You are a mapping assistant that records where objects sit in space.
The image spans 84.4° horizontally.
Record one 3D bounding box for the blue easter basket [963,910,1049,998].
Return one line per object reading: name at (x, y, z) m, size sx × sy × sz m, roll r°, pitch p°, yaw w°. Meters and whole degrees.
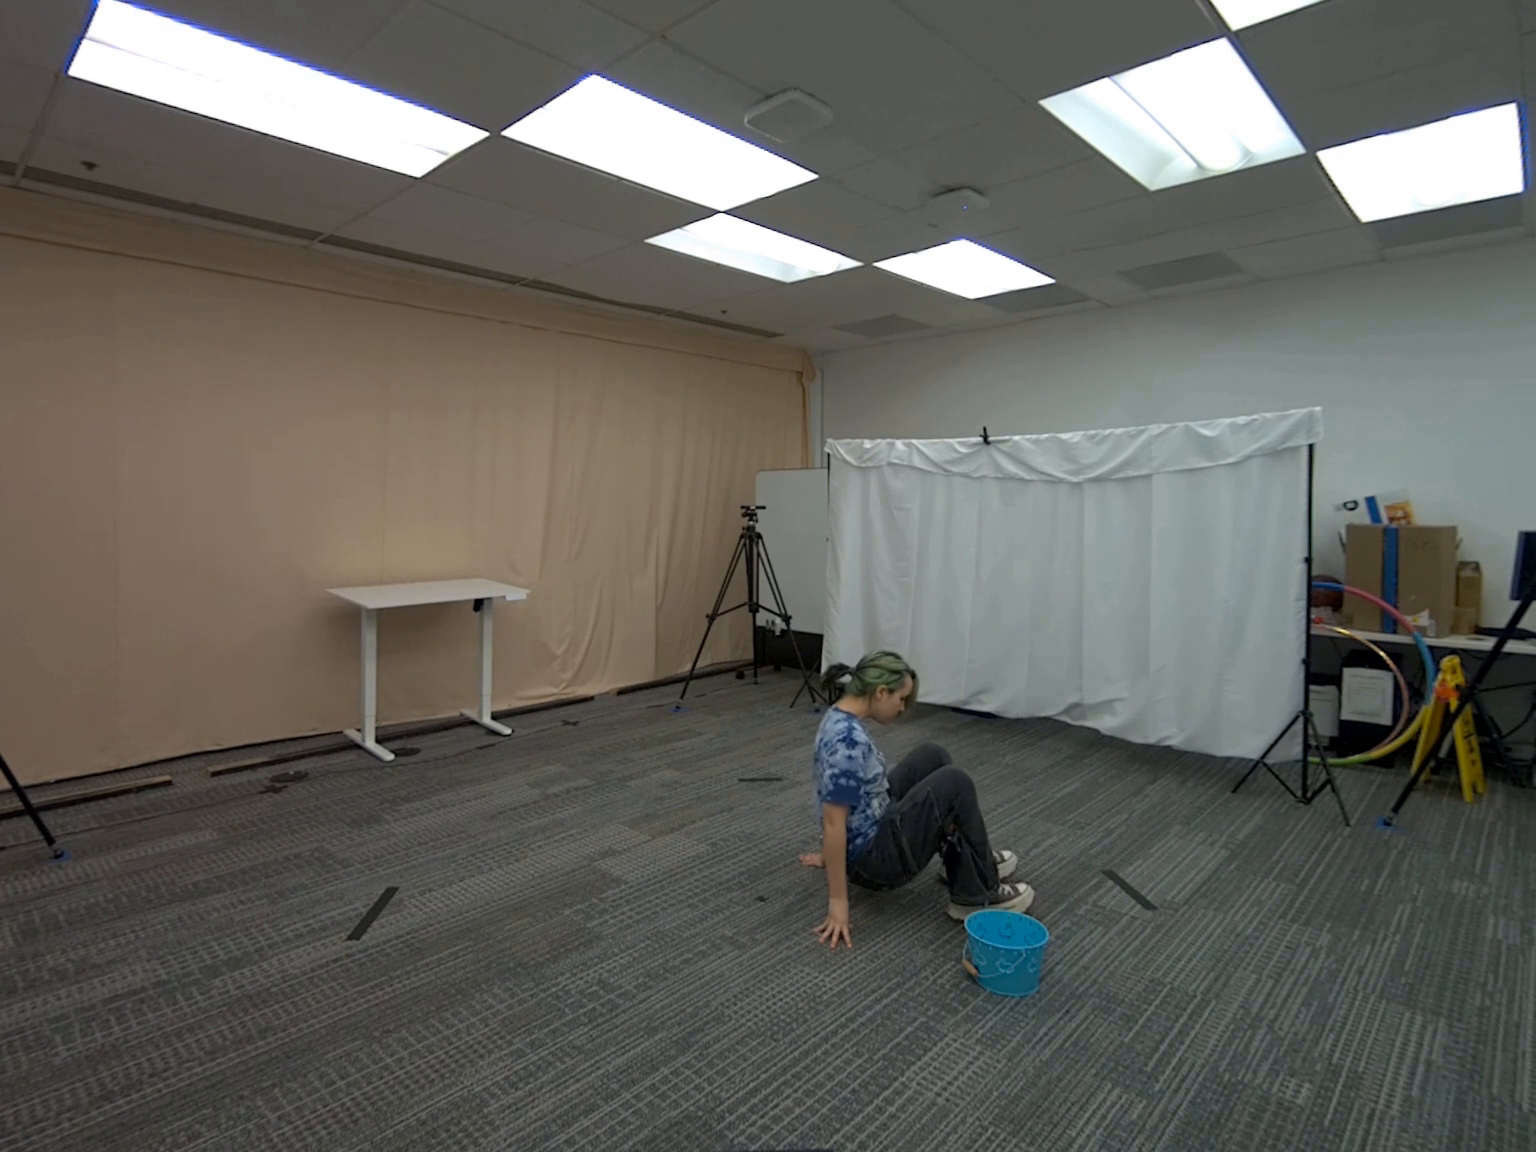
blue easter basket at (0.692, 1.101, 2.479) m, size 0.243 × 0.155 × 0.244 m, roll -1°, pitch 5°, yaw -2°
